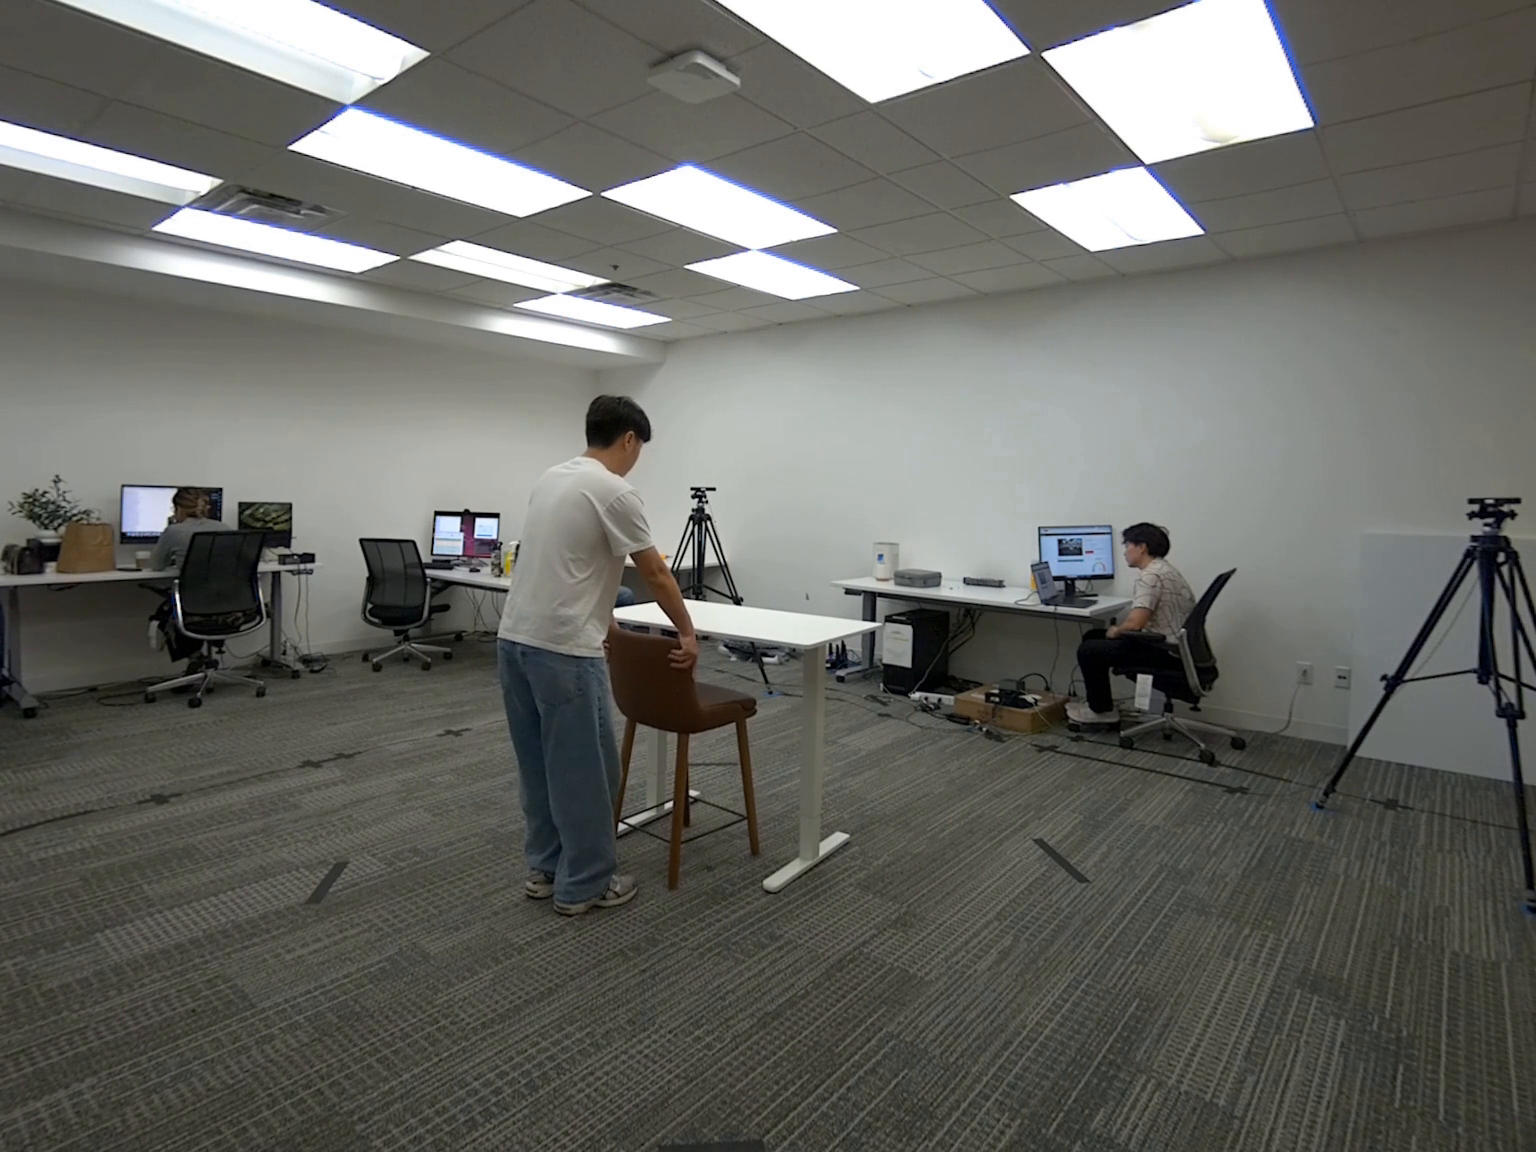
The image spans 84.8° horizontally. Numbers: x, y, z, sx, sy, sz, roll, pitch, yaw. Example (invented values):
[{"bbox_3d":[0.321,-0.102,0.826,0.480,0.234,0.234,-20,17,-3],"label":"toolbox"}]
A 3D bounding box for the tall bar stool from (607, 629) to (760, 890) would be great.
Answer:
[{"bbox_3d":[-0.348,0.617,3.181,0.472,0.886,0.454,4,6,42],"label":"tall bar stool"}]
